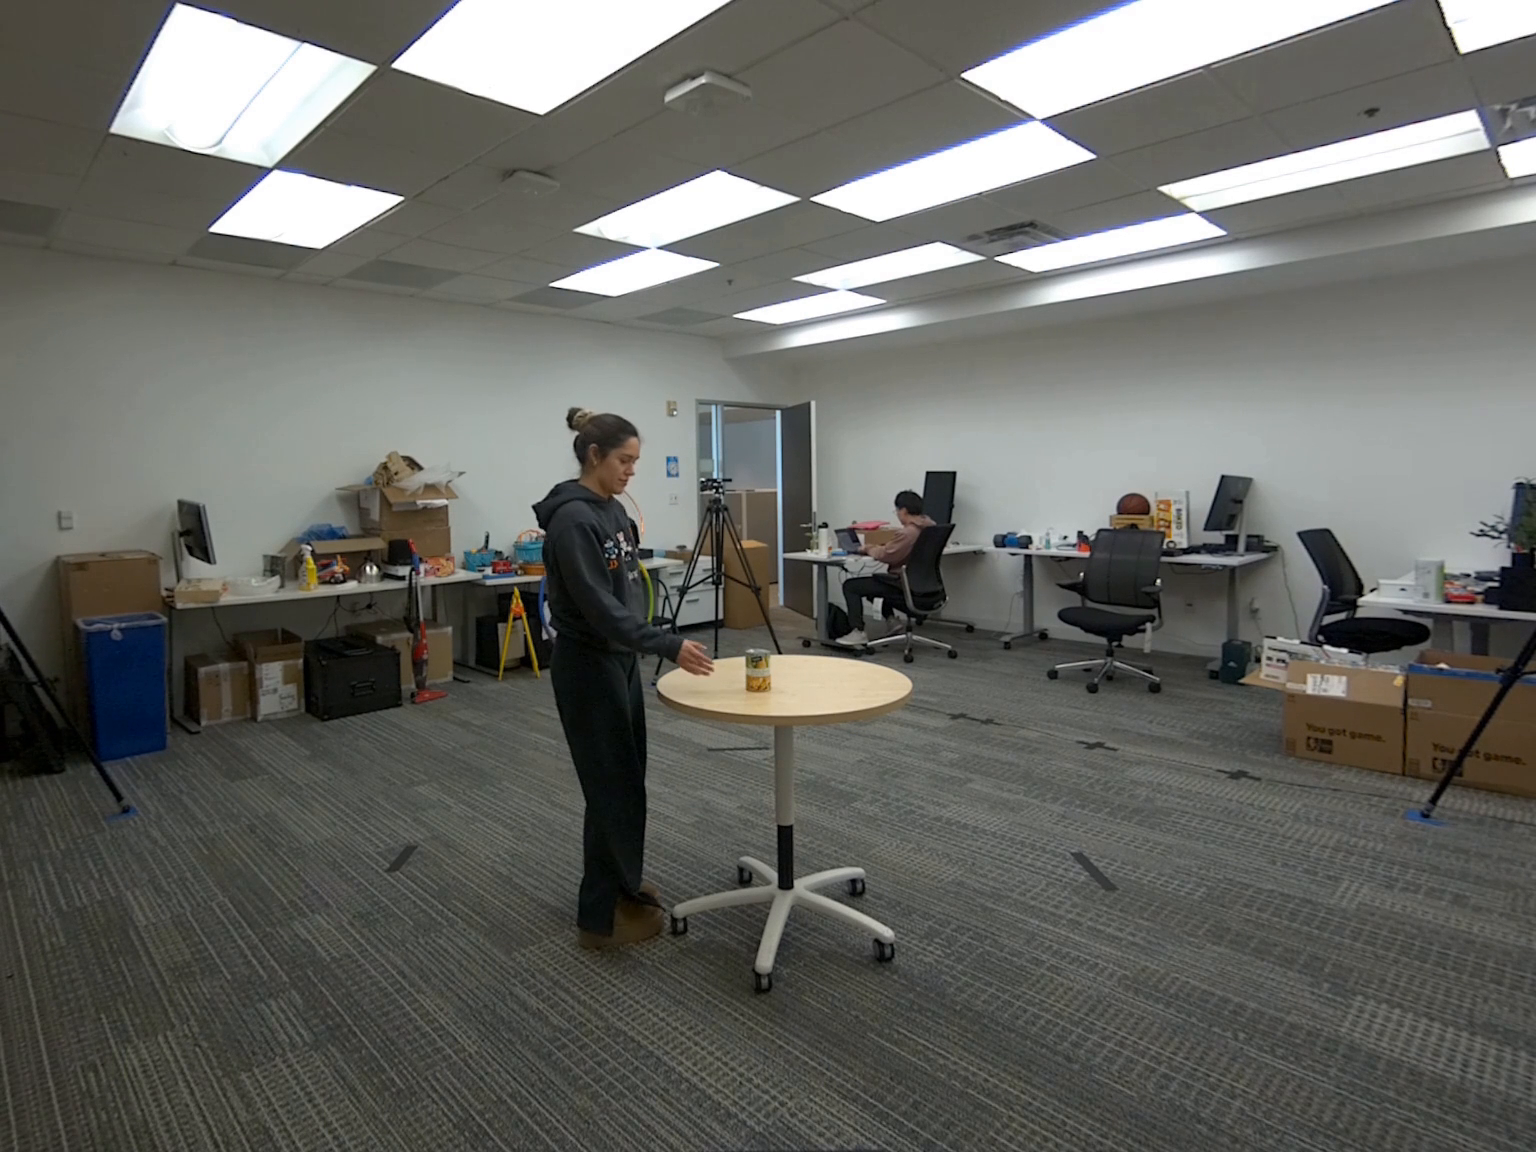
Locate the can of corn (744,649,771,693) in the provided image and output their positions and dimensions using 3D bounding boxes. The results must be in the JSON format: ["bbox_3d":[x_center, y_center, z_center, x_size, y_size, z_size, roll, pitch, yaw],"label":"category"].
[{"bbox_3d":[-0.034,0.279,2.479,0.074,0.110,0.074,-6,5,-1],"label":"can of corn"}]
